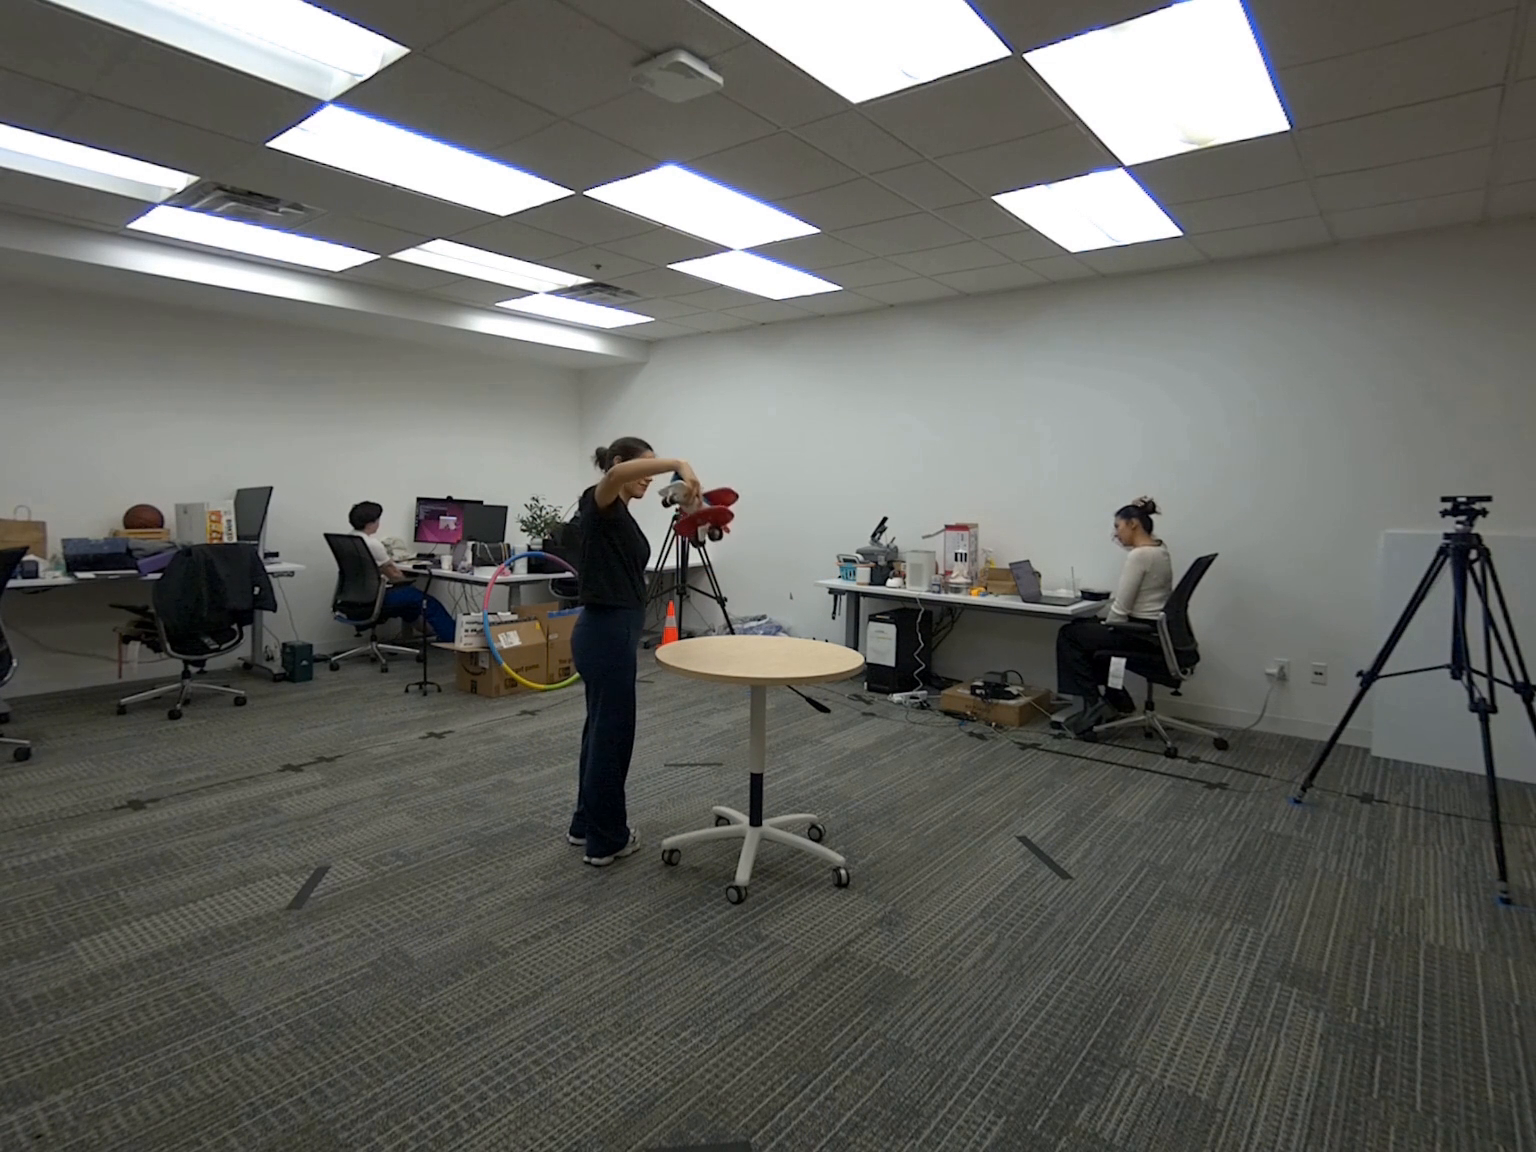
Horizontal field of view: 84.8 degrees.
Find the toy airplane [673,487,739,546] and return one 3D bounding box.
[{"bbox_3d":[-0.222,-0.226,2.816,0.258,0.250,0.158,6,45,25],"label":"toy airplane"}]
